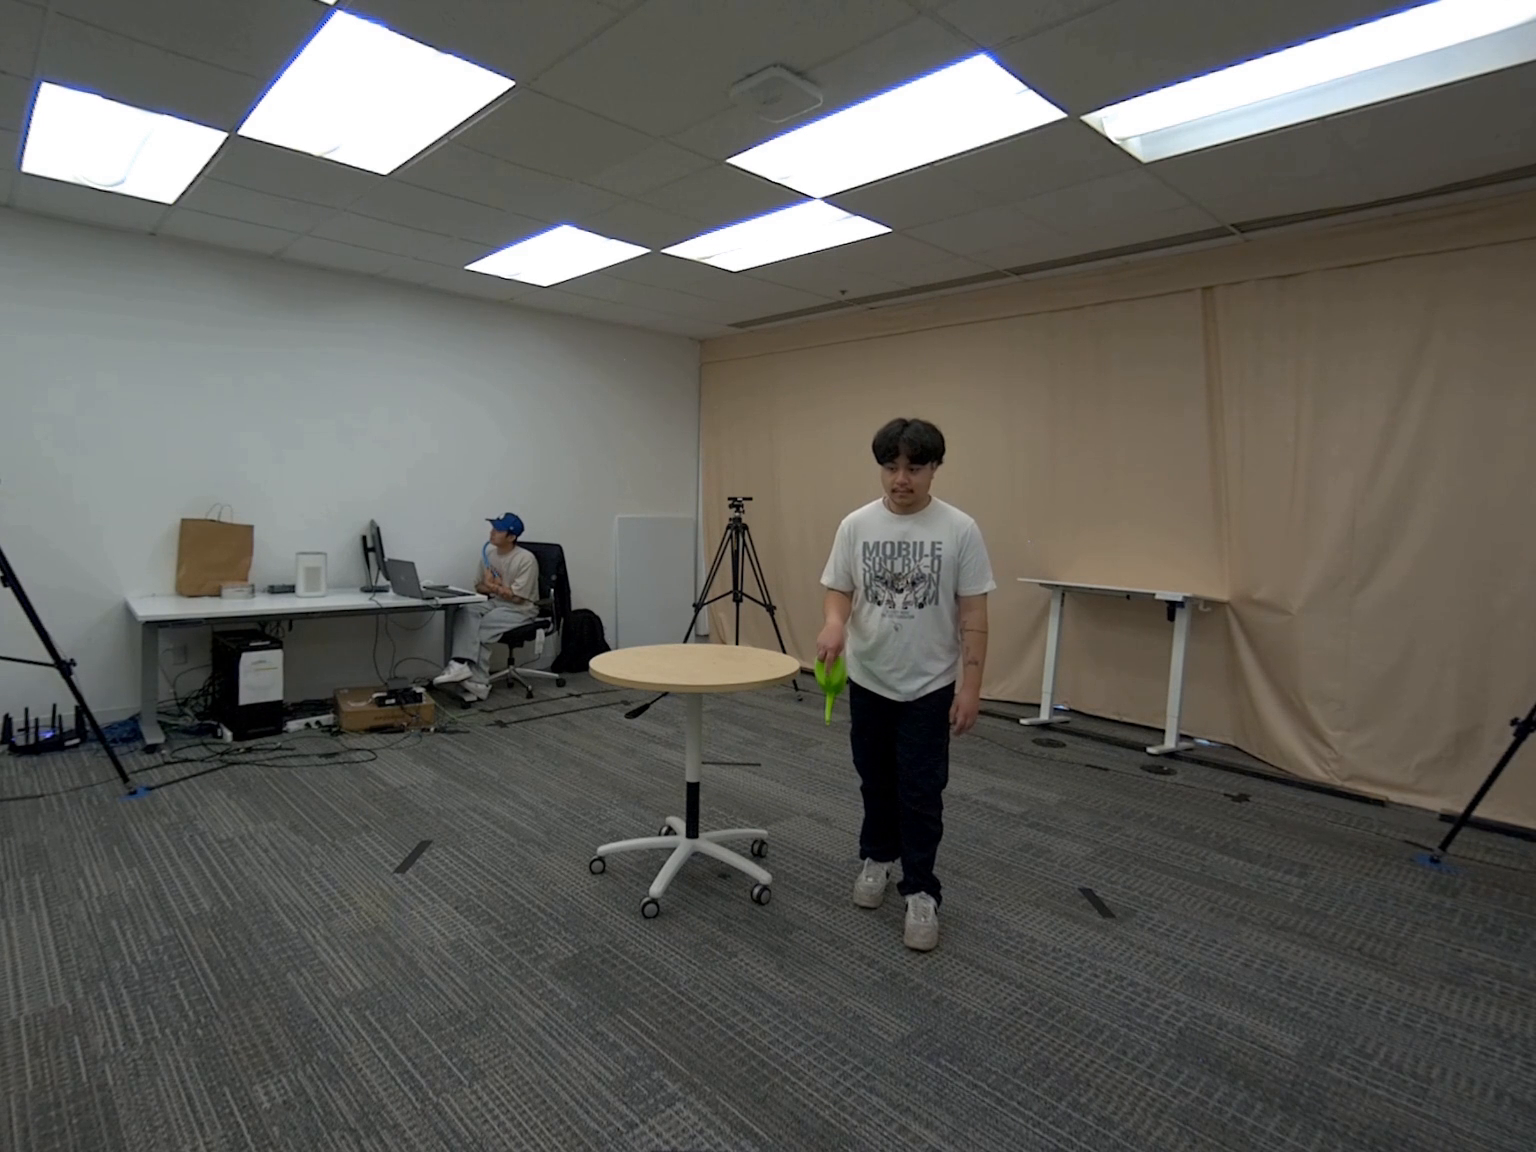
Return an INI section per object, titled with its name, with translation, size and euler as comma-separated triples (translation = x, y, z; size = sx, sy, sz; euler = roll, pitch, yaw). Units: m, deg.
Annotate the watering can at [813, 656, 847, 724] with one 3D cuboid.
[watering can]
translation = 0.186, 0.344, 2.701
size = 0.099, 0.281, 0.172
euler = 8, -21, 15
